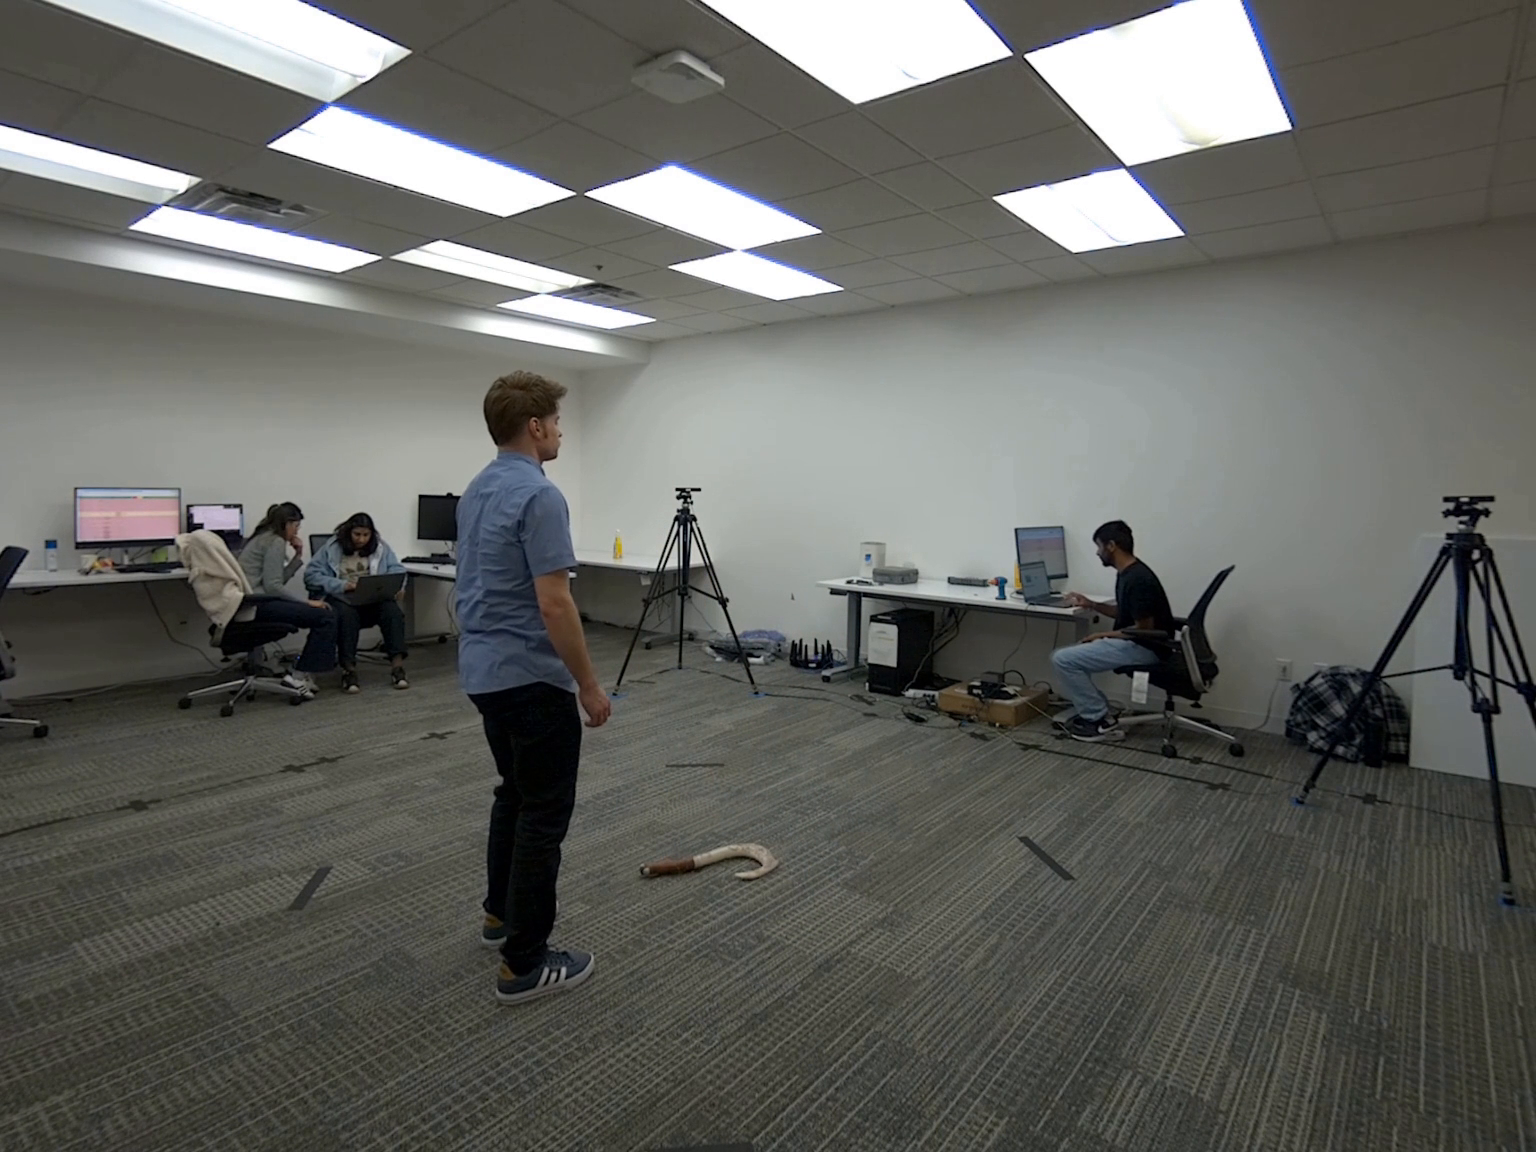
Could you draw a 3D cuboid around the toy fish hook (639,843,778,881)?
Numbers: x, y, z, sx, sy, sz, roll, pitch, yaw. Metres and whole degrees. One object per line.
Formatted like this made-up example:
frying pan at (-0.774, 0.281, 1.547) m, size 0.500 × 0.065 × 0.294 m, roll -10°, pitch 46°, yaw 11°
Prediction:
toy fish hook at (-0.217, 1.047, 3.082) m, size 0.495 × 0.048 × 0.231 m, roll -2°, pitch 6°, yaw -24°
